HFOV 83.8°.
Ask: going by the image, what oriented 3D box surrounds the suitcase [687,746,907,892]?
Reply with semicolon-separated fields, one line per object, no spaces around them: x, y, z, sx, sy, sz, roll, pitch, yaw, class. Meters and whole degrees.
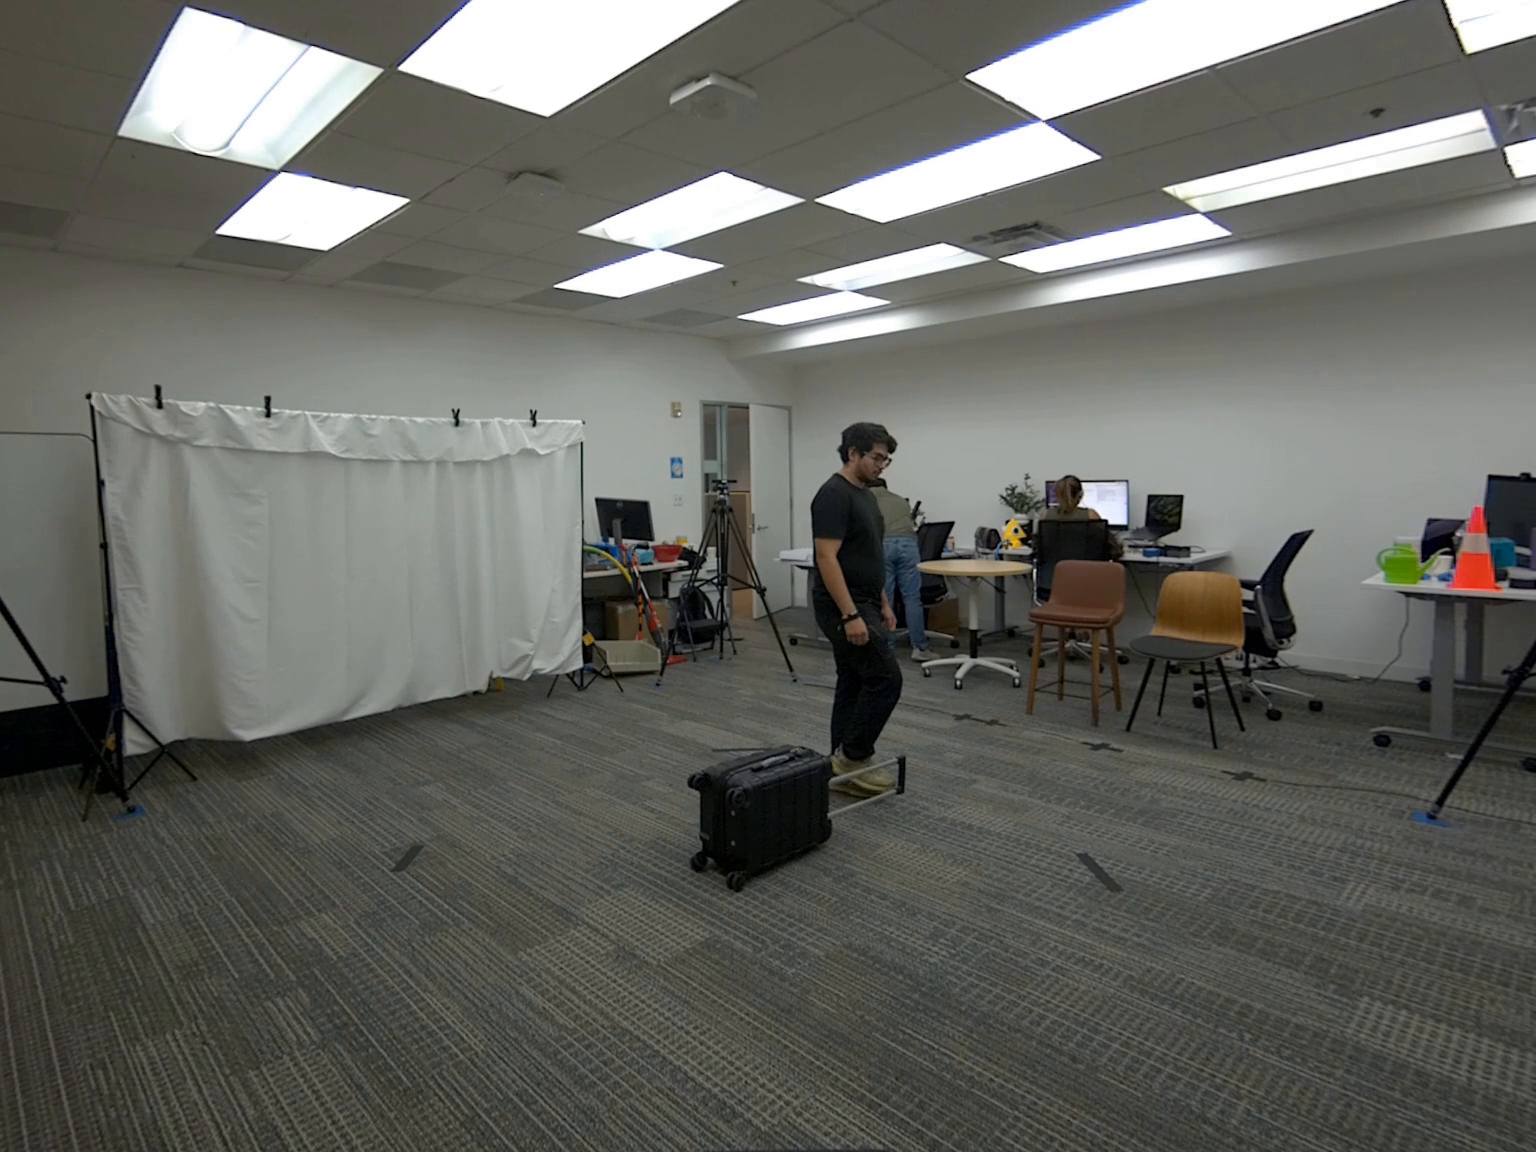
0.135;0.837;3.293;0.953;0.382;0.265;-6;7;-44;suitcase
